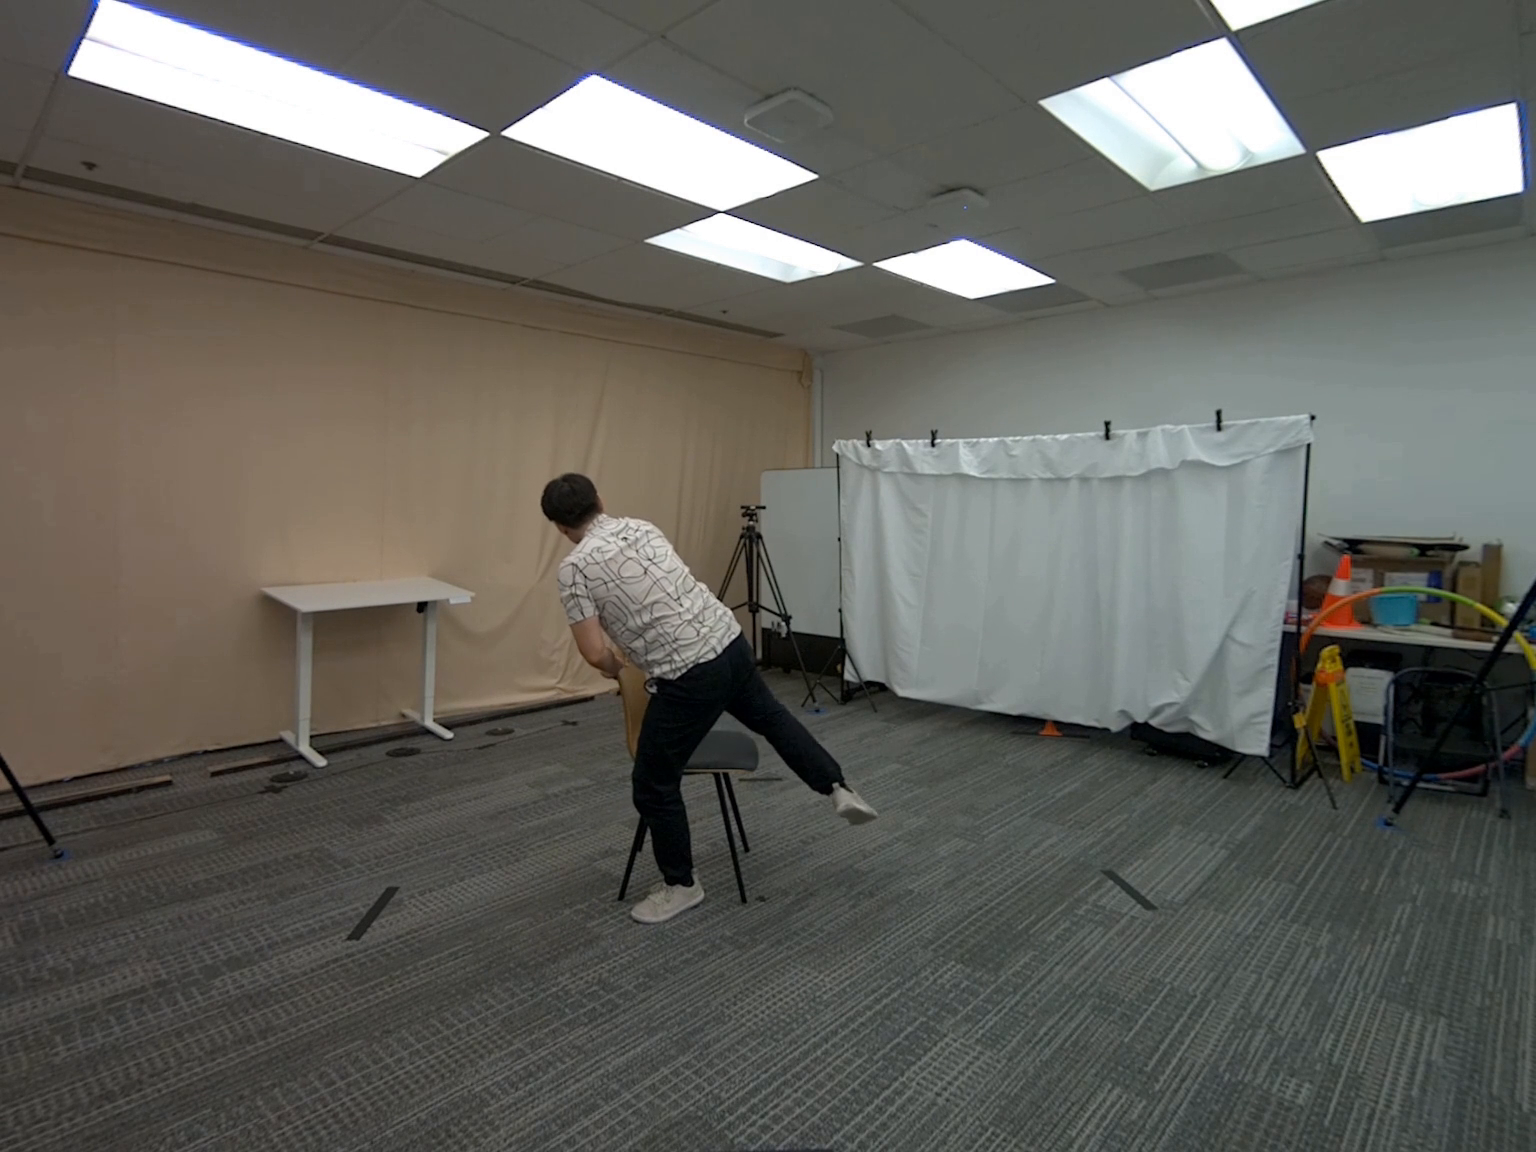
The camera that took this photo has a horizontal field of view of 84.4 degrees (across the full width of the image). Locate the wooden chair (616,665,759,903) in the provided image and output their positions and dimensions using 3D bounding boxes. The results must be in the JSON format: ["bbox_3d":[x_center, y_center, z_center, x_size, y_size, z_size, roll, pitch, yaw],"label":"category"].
[{"bbox_3d":[-0.294,0.701,3.155,0.524,0.875,0.478,-4,3,1],"label":"wooden chair"}]
